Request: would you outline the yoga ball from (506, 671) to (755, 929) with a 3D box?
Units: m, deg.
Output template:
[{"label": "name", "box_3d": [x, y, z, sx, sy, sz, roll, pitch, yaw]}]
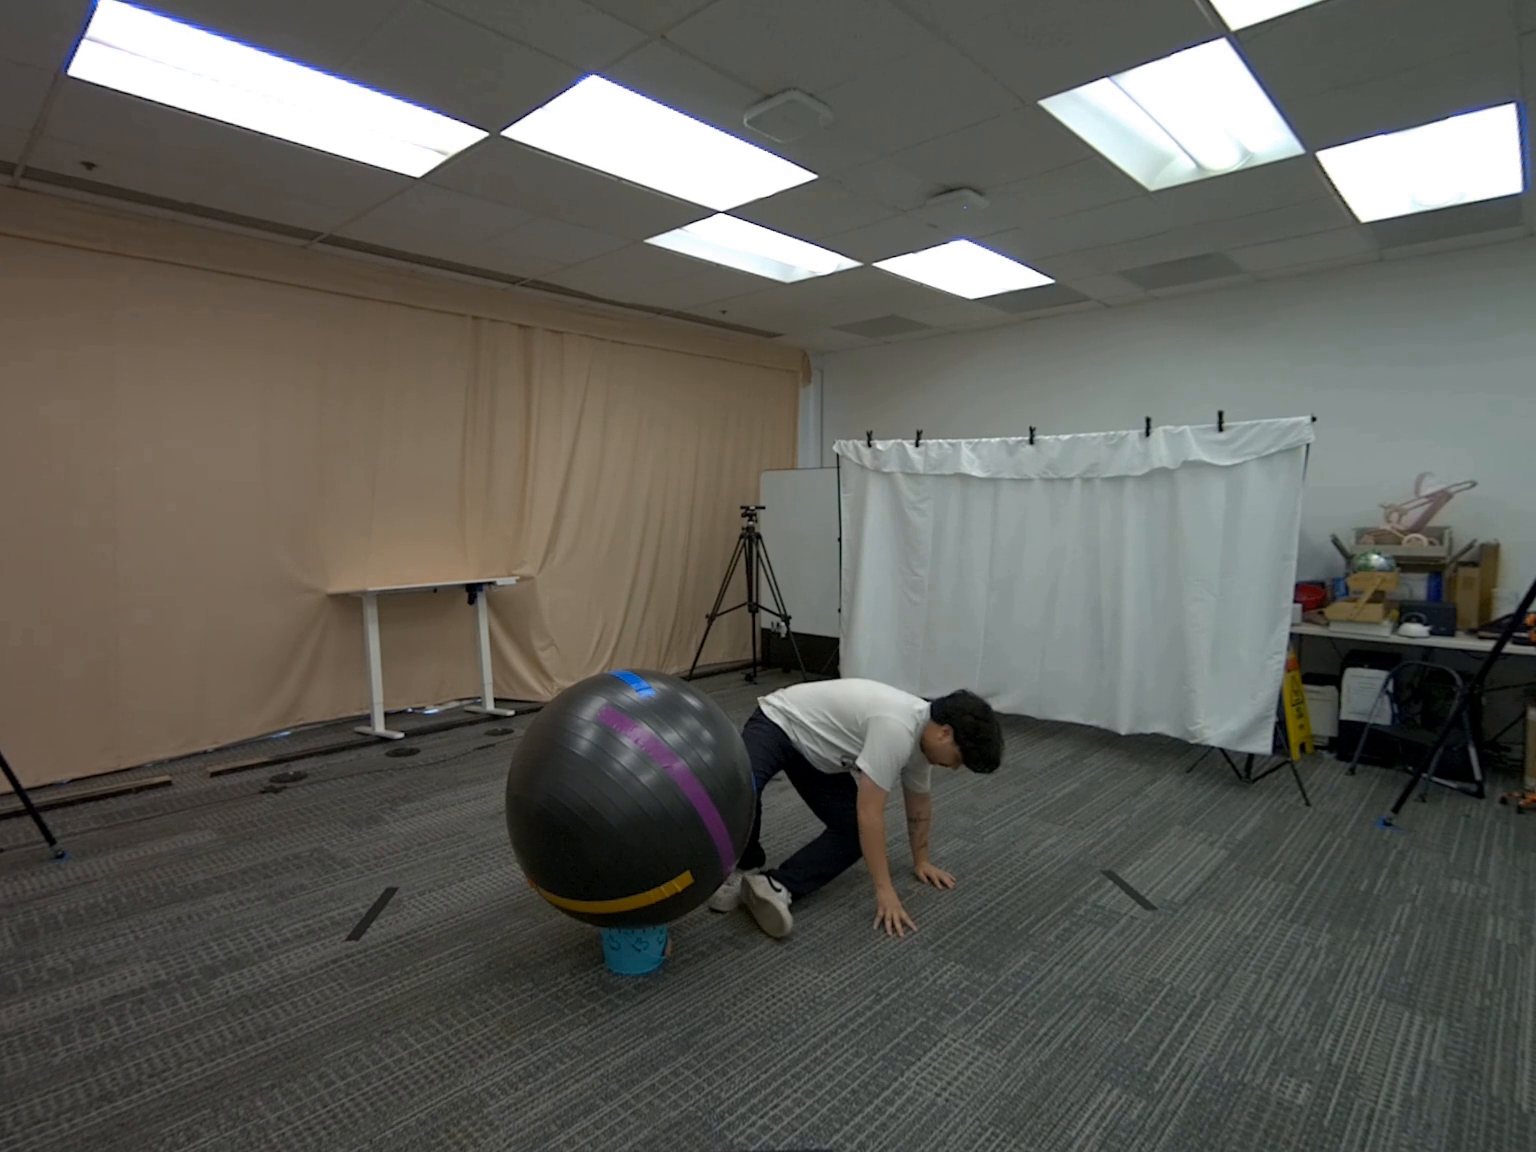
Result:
[{"label": "yoga ball", "box_3d": [-0.416, 0.670, 2.579, 0.757, 0.756, 0.760, 0, 4, -2]}]
